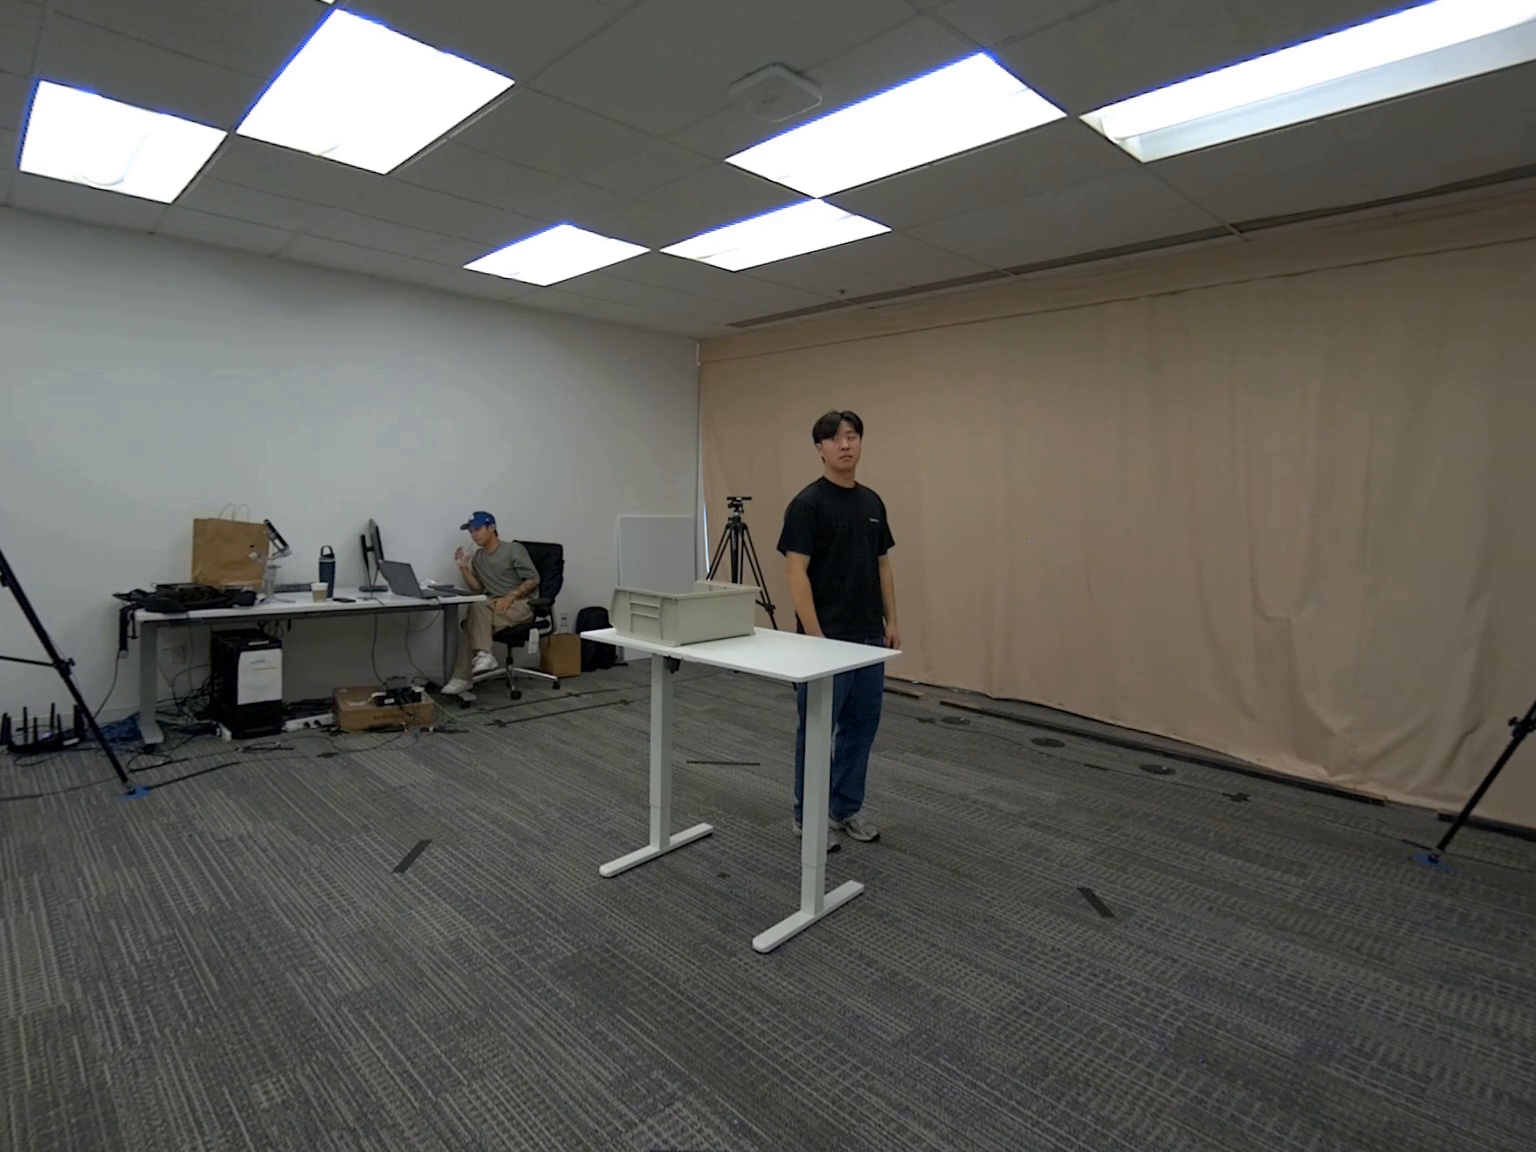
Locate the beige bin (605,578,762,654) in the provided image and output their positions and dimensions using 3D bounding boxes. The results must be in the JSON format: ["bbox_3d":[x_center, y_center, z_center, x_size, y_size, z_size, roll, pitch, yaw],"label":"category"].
[{"bbox_3d":[-0.311,0.133,3.106,0.387,0.188,0.413,8,8,43],"label":"beige bin"}]
